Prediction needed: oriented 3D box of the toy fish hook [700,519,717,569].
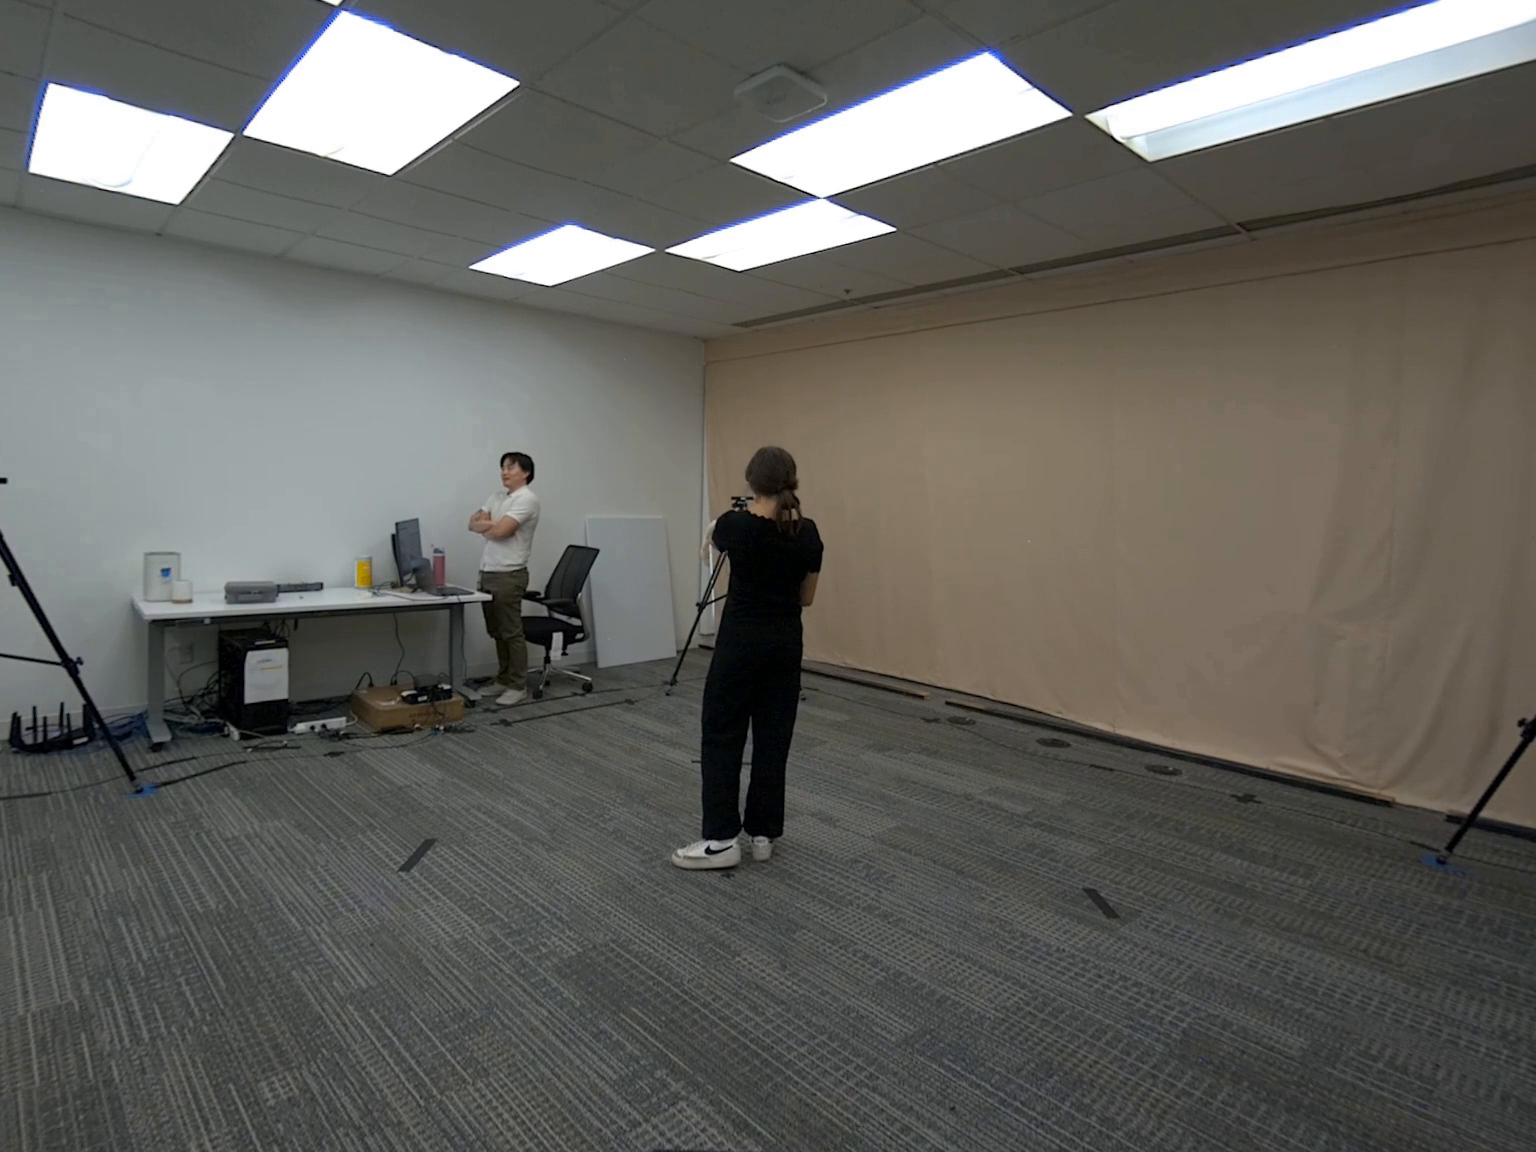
[{"bbox_3d":[-0.172,0.015,3.576,0.227,0.508,0.048,-6,-3,14],"label":"toy fish hook"}]
